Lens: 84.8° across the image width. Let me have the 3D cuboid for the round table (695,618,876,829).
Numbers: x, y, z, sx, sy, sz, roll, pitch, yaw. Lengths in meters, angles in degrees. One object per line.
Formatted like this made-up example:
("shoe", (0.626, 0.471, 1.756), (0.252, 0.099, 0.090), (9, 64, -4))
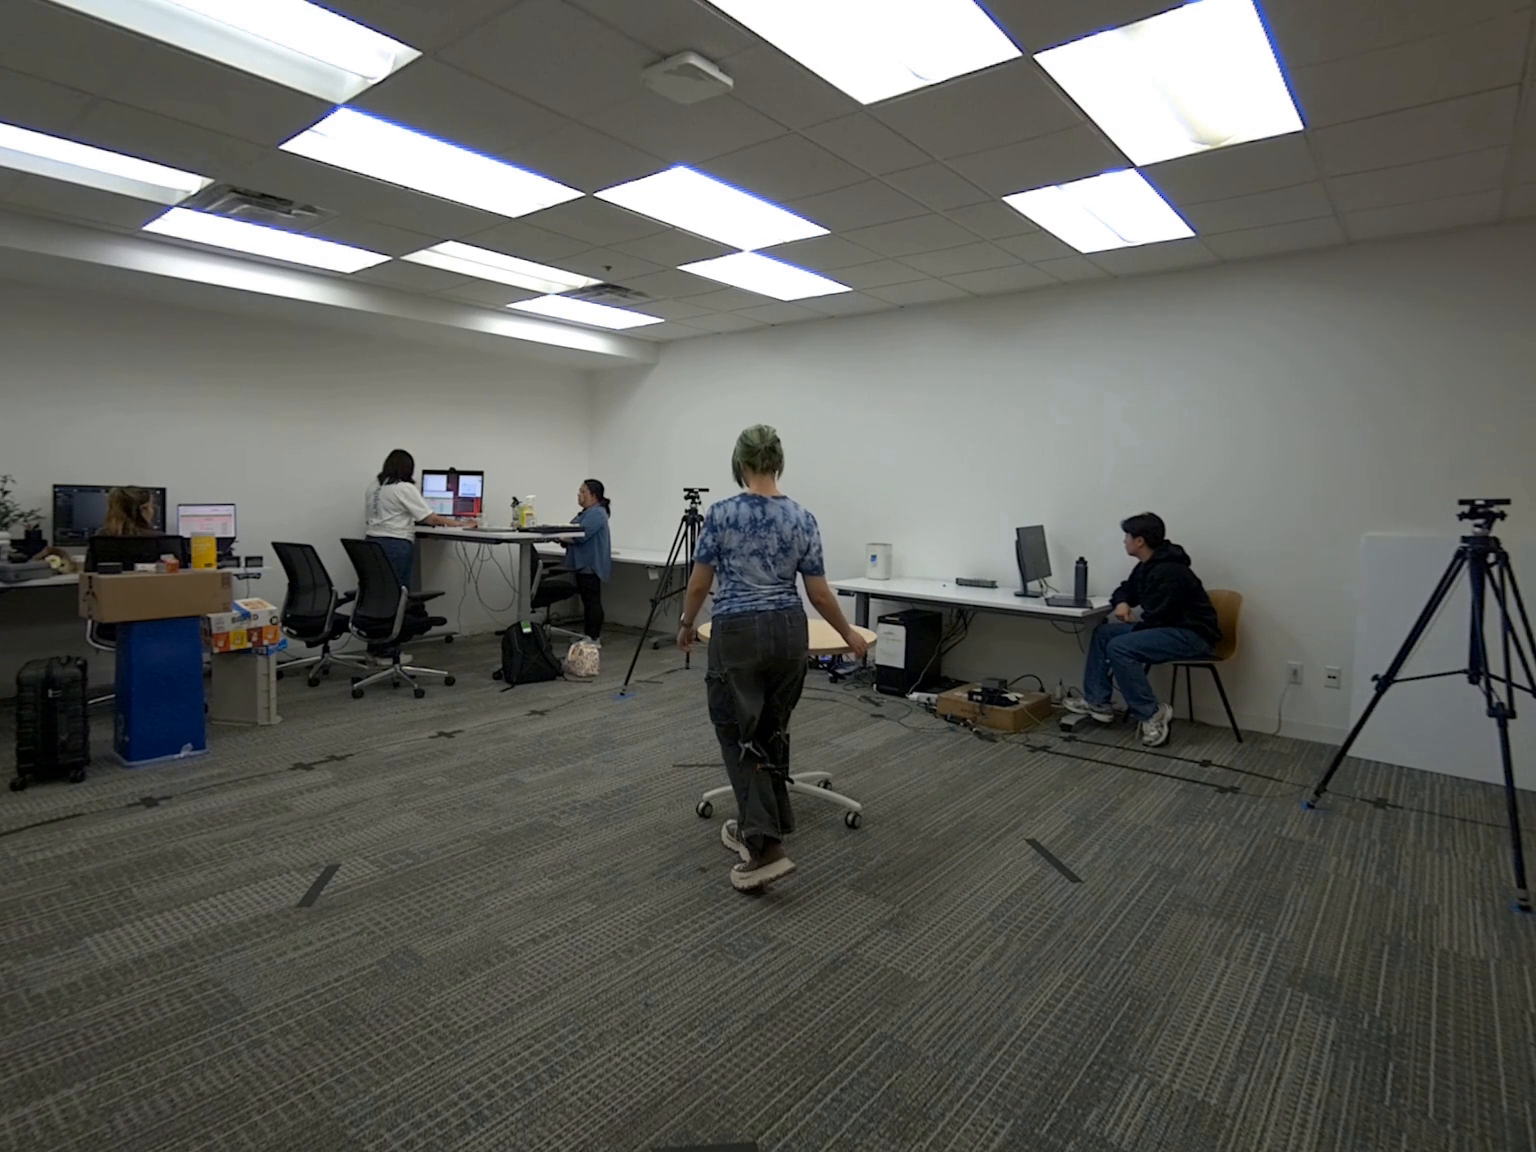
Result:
("round table", (0.058, 0.629, 3.679), (0.763, 0.791, 0.768), (1, 4, -2))
